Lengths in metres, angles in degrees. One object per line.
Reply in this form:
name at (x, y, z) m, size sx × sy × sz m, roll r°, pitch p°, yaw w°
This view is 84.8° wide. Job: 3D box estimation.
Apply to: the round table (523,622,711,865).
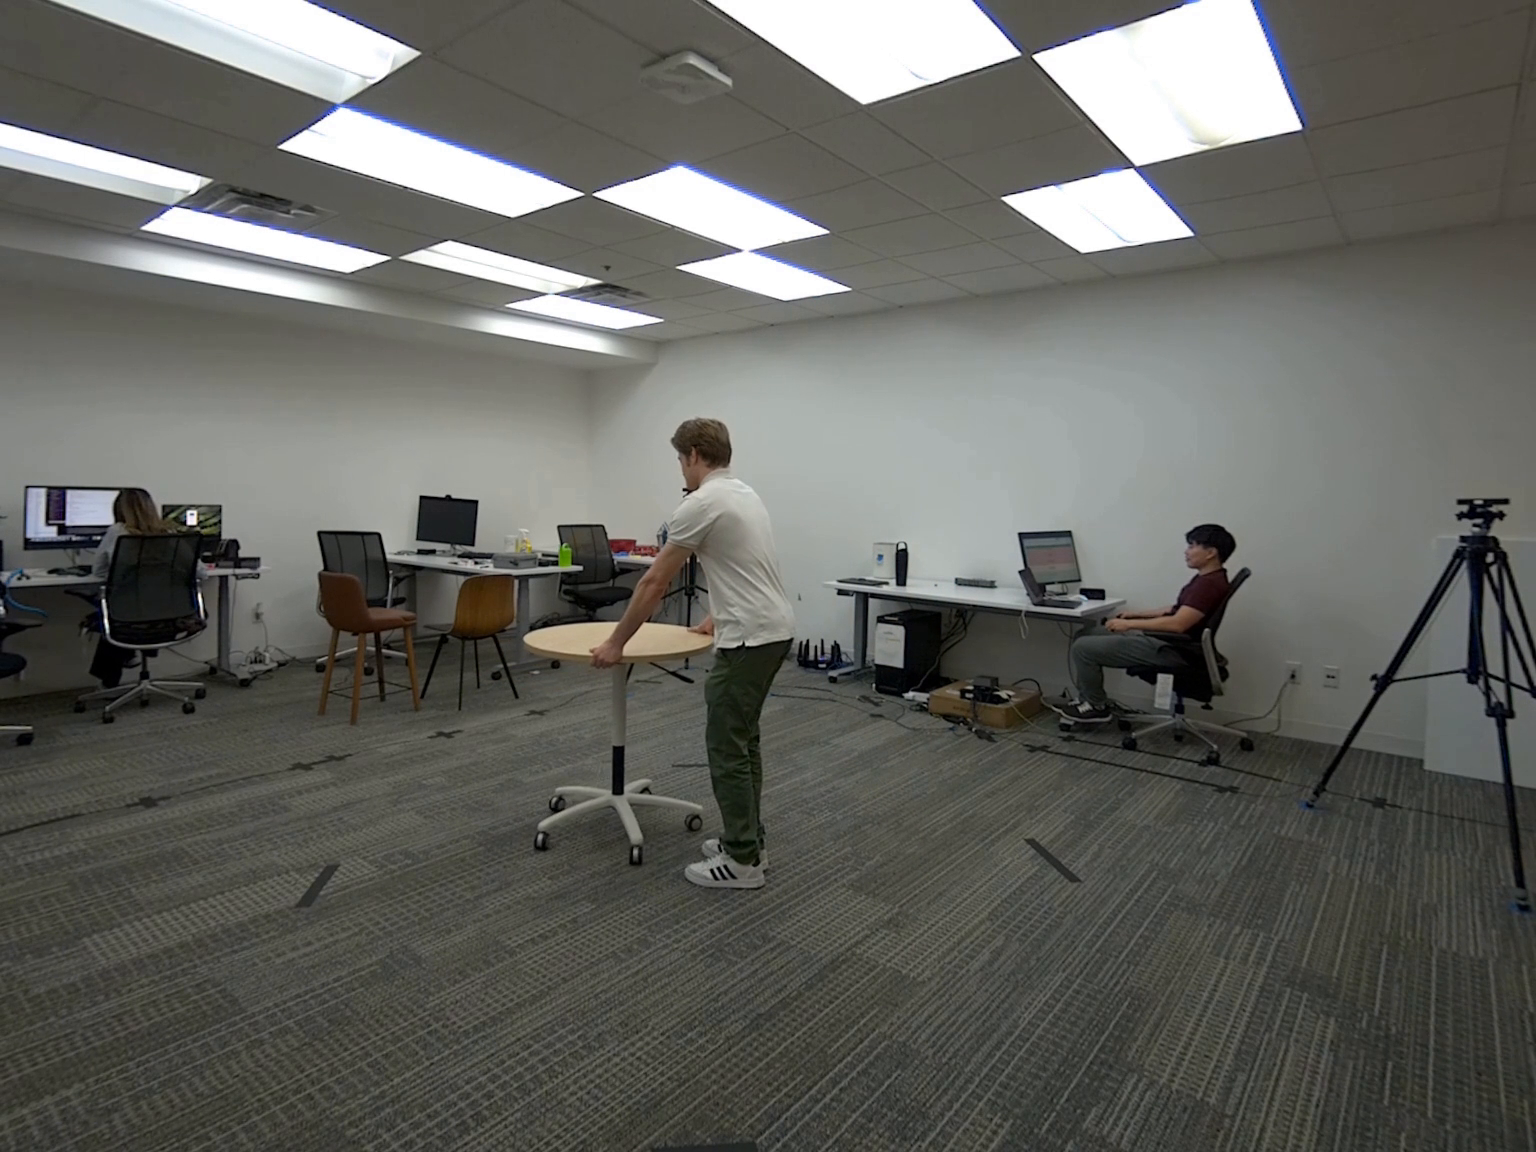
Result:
round table at (-0.615, 0.639, 3.461) m, size 0.763 × 0.792 × 0.767 m, roll 1°, pitch 4°, yaw -2°
